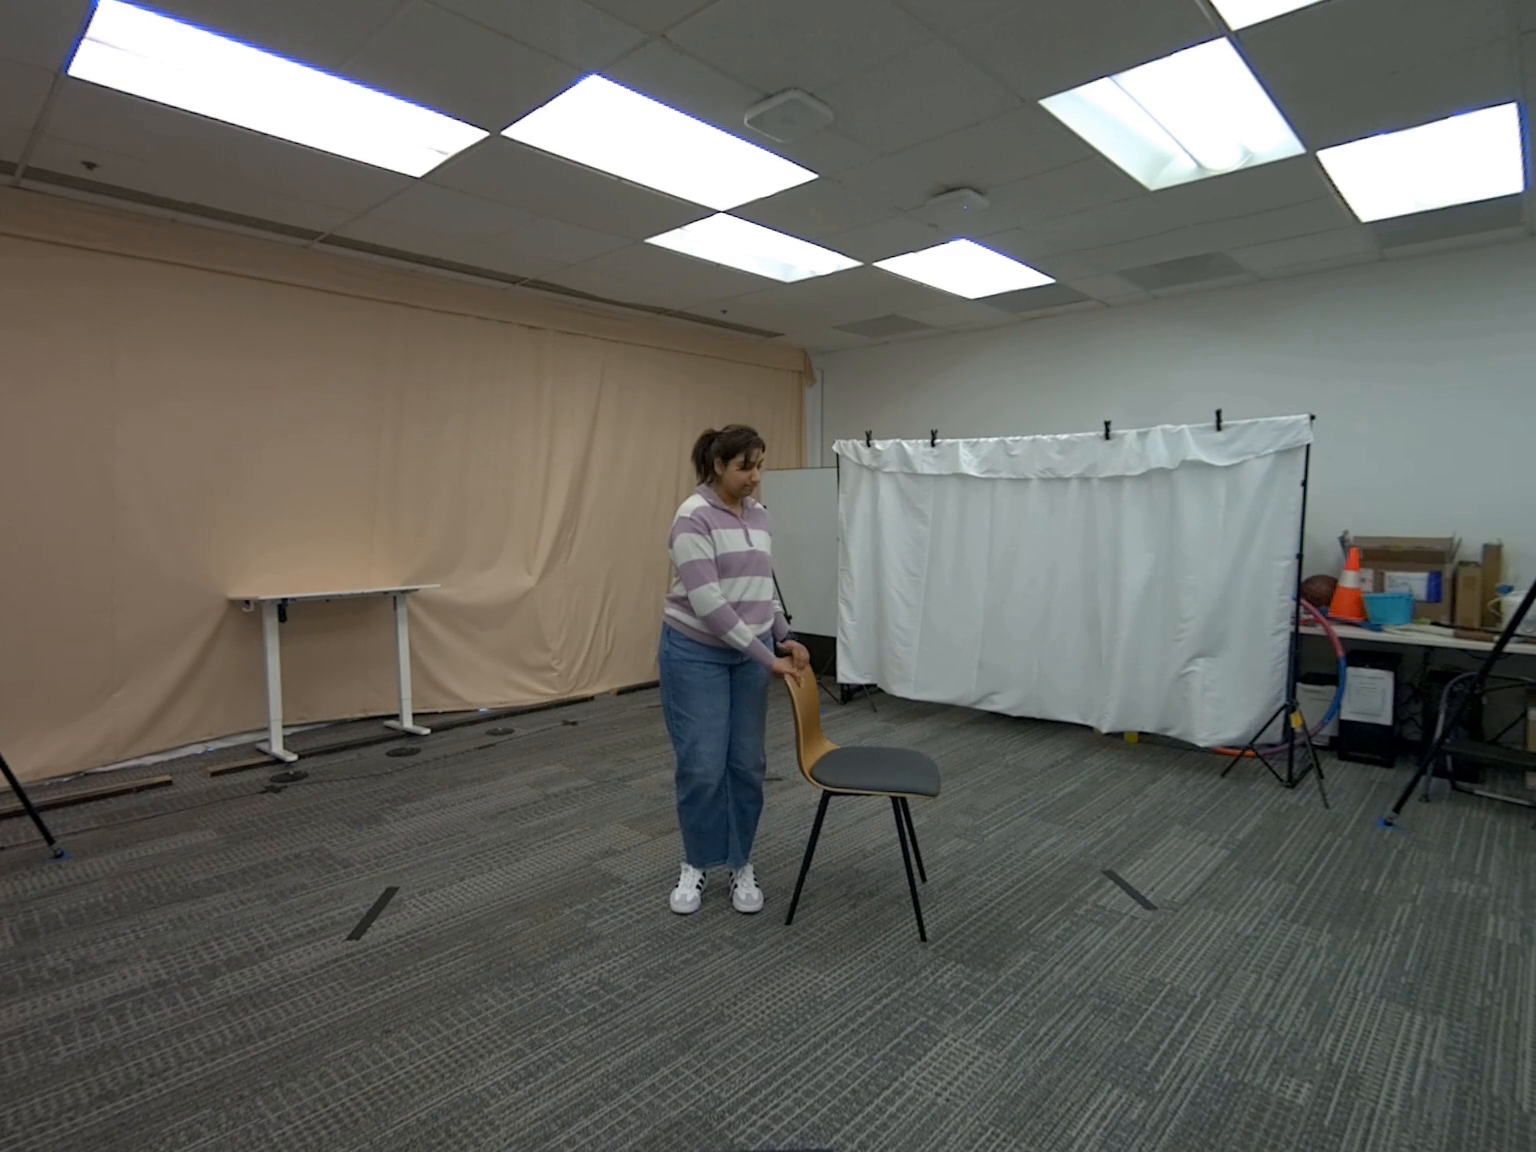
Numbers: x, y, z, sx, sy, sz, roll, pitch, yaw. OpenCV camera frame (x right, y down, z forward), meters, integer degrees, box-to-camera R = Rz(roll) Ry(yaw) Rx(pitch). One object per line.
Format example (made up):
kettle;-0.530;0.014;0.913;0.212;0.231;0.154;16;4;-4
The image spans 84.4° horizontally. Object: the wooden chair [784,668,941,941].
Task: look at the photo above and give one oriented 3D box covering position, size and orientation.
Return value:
wooden chair;0.336;0.719;2.915;0.531;0.876;0.472;-3;3;13
